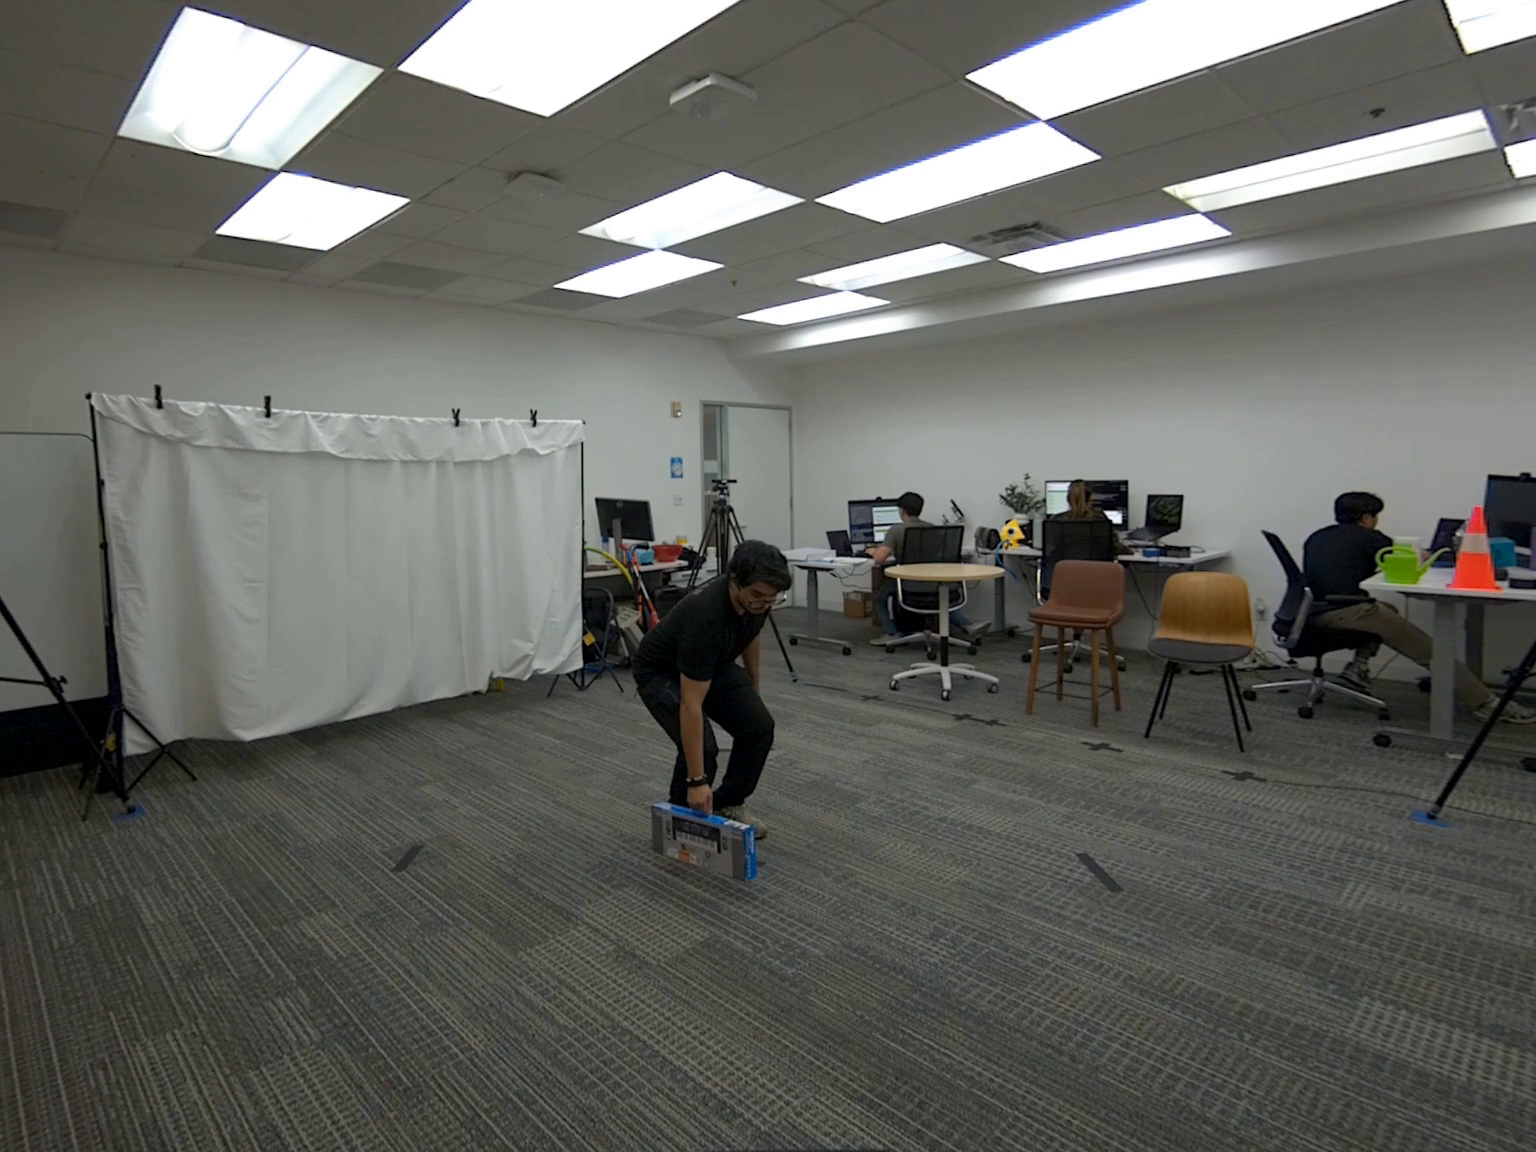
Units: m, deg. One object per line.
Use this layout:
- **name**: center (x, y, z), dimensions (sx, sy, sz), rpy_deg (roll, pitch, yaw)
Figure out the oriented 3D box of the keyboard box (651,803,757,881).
- **keyboard box**: center (-0.234, 0.918, 2.957), dimensions (0.449, 0.175, 0.057), rpy_deg (1, 3, 40)
